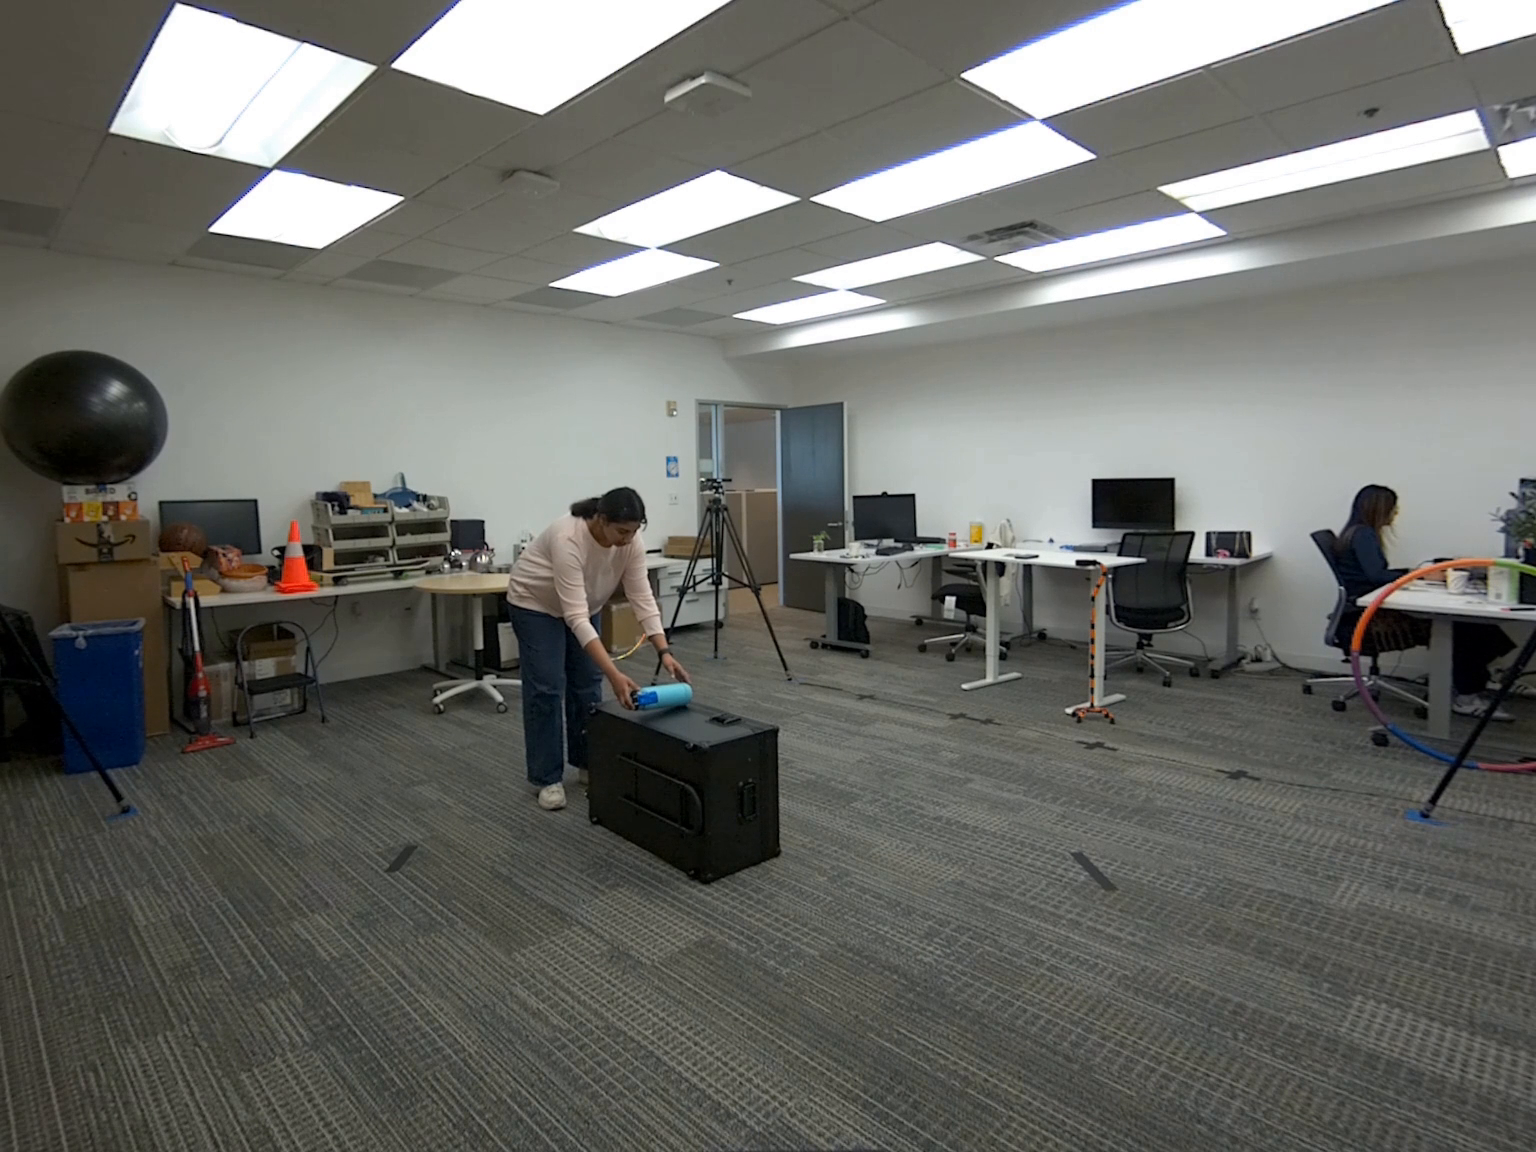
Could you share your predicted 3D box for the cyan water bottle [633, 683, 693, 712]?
[{"bbox_3d":[-0.433,0.478,3.379,0.095,0.092,0.275,4,3,45],"label":"cyan water bottle"}]
